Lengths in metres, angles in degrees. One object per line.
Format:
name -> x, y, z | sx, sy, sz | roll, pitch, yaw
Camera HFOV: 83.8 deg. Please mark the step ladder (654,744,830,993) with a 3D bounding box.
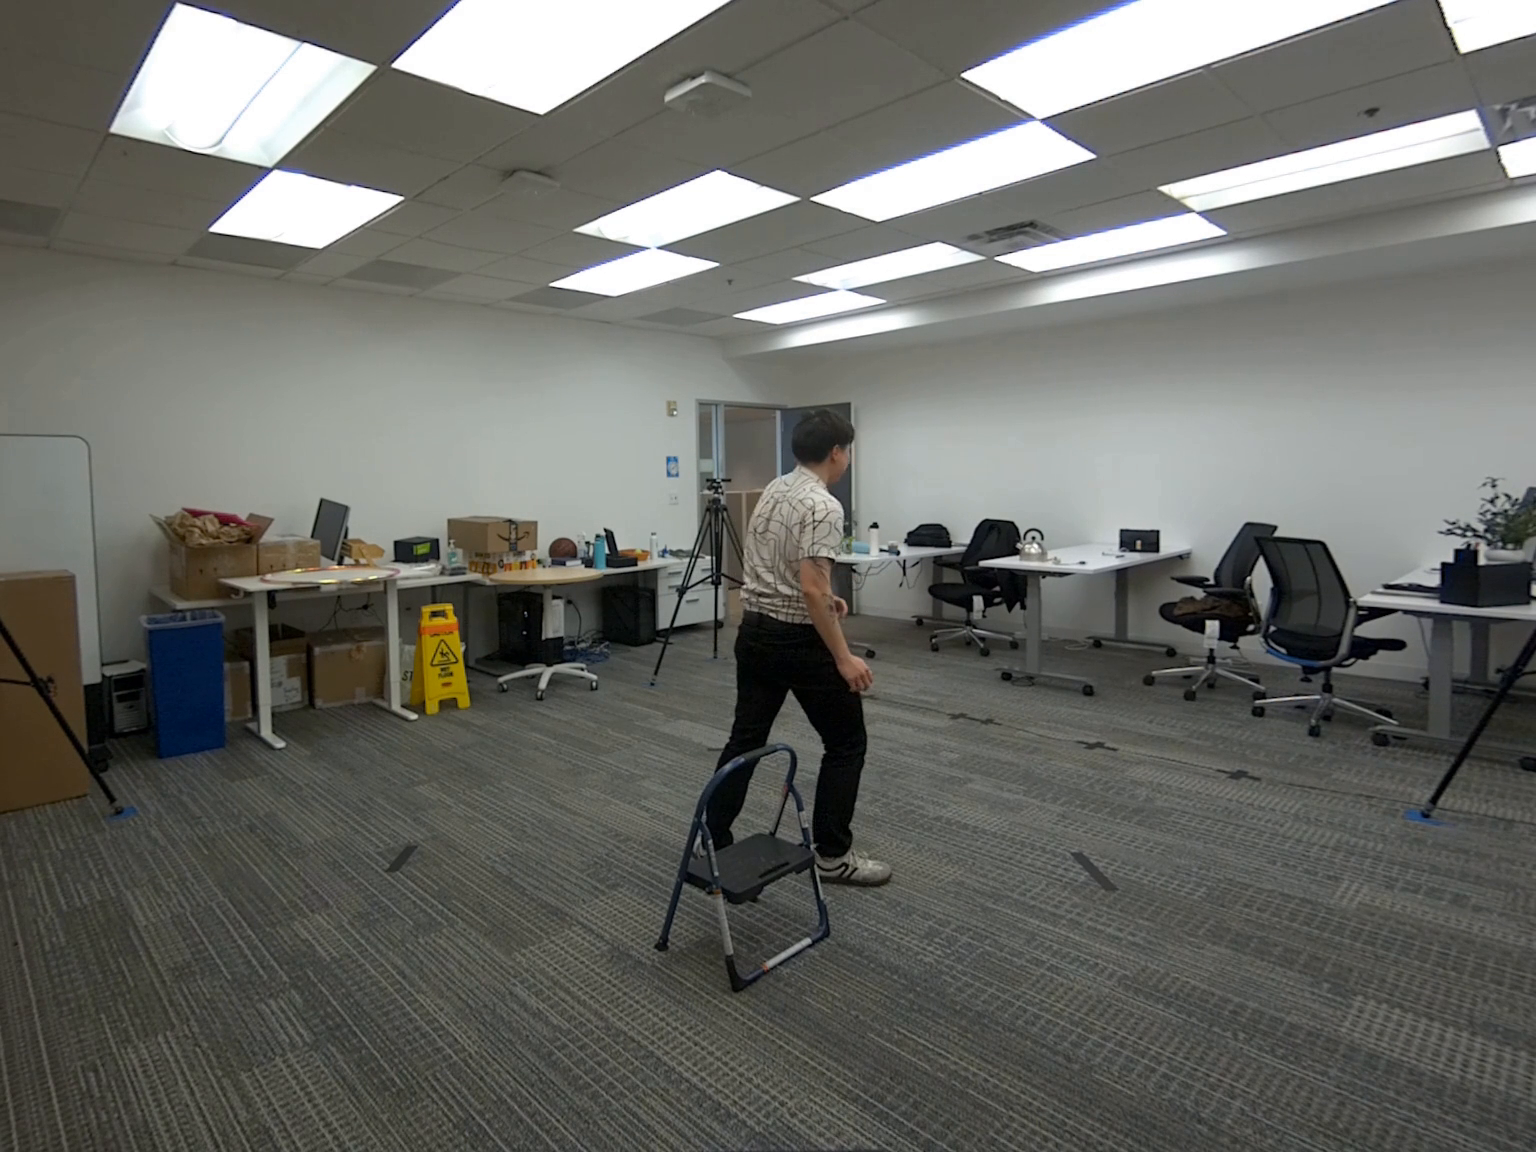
step ladder -> -0.074, 0.805, 2.565 | 0.360, 0.603, 0.419 | 4, 7, 43
